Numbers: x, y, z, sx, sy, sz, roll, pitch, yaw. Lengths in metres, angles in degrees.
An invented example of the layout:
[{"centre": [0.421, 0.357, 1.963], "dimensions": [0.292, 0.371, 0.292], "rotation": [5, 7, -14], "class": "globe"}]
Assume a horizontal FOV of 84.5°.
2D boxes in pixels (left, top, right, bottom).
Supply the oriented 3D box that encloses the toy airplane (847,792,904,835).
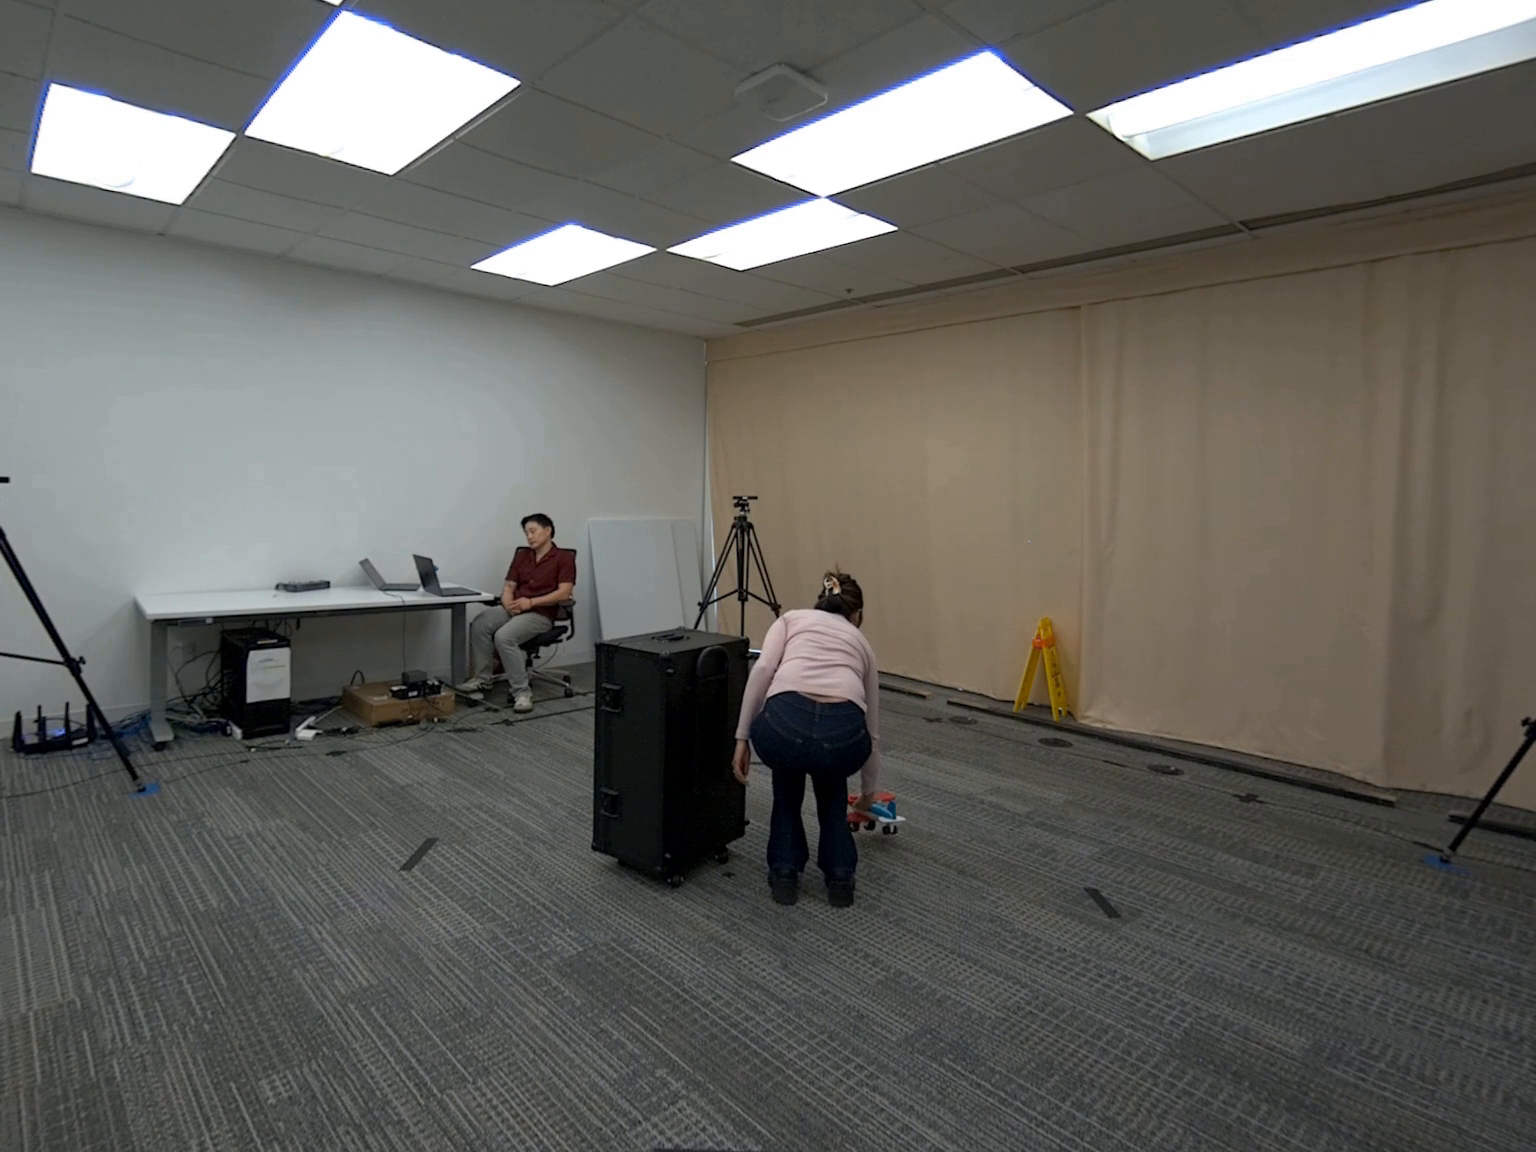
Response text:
[{"centre": [0.435, 0.961, 3.424], "dimensions": [0.263, 0.158, 0.244], "rotation": [-10, -14, 28], "class": "toy airplane"}]
